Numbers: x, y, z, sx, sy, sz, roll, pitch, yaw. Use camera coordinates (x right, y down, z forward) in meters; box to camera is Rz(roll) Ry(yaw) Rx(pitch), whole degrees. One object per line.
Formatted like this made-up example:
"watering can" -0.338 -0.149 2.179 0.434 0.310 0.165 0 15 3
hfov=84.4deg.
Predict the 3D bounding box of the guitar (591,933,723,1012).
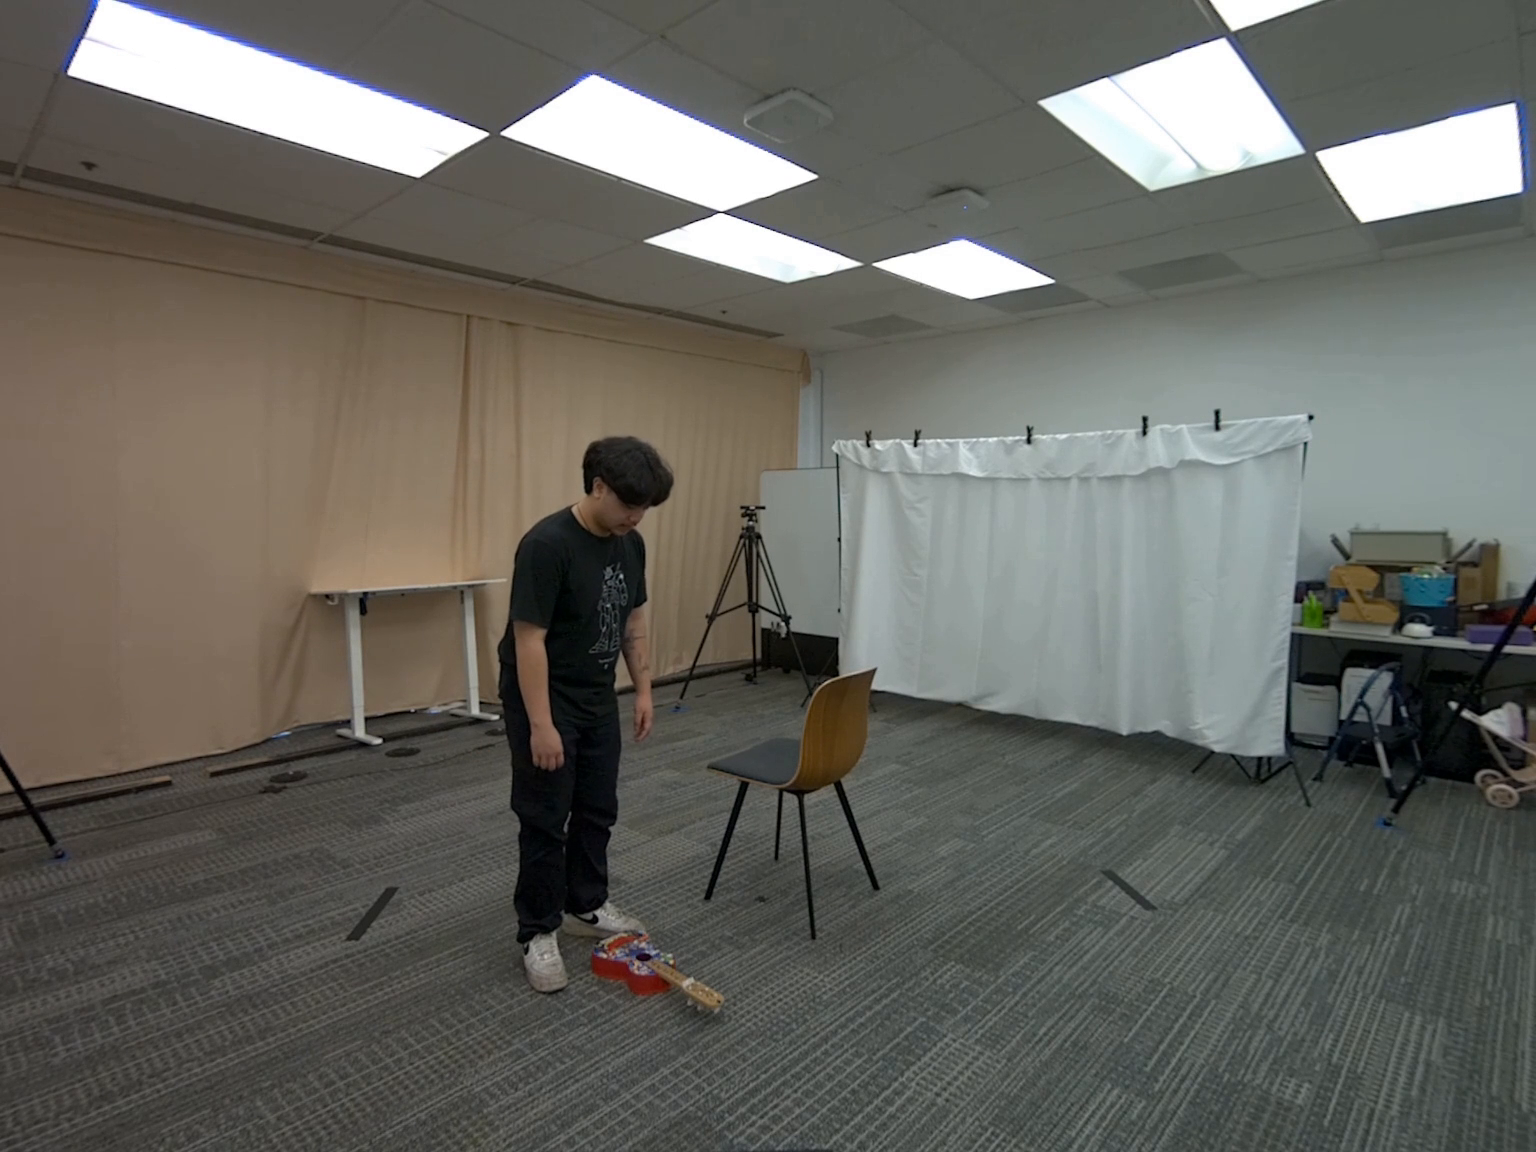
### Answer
"guitar" -0.335 1.161 2.415 0.187 0.070 0.514 -2 5 -36
